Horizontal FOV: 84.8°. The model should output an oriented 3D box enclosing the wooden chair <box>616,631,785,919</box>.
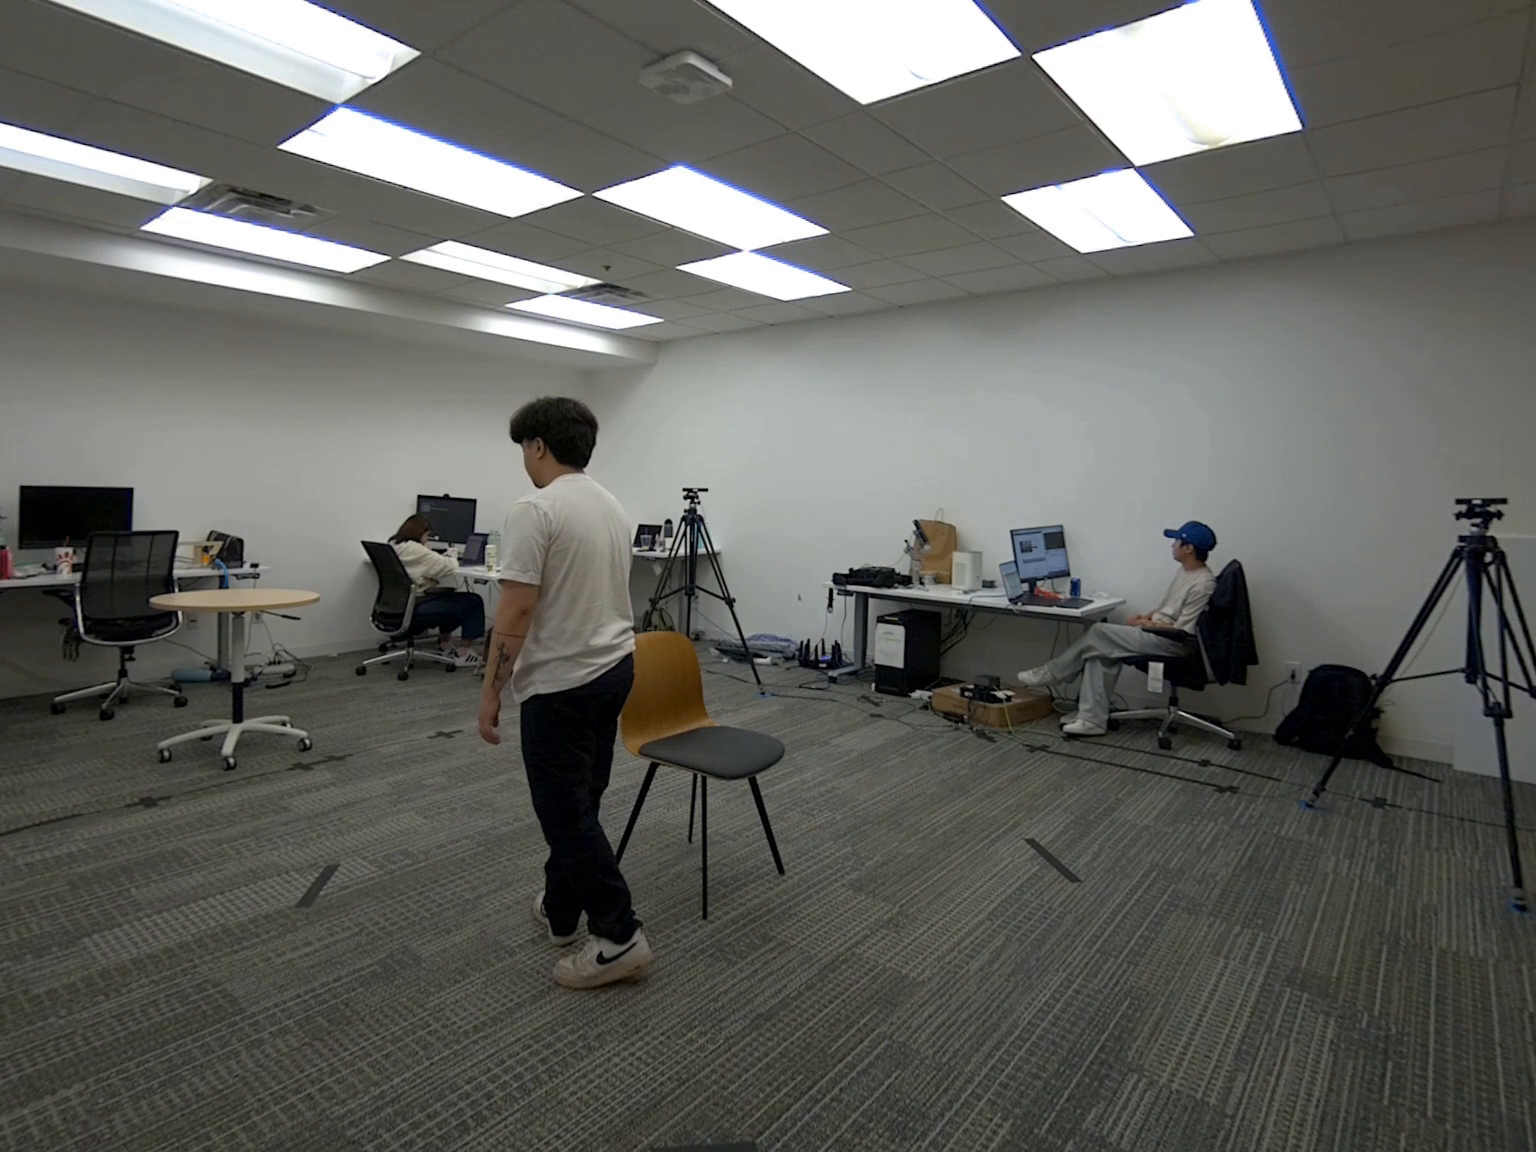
[{"bbox_3d":[-0.244,0.648,3.020,0.539,0.877,0.464,-2,0,37],"label":"wooden chair"}]
